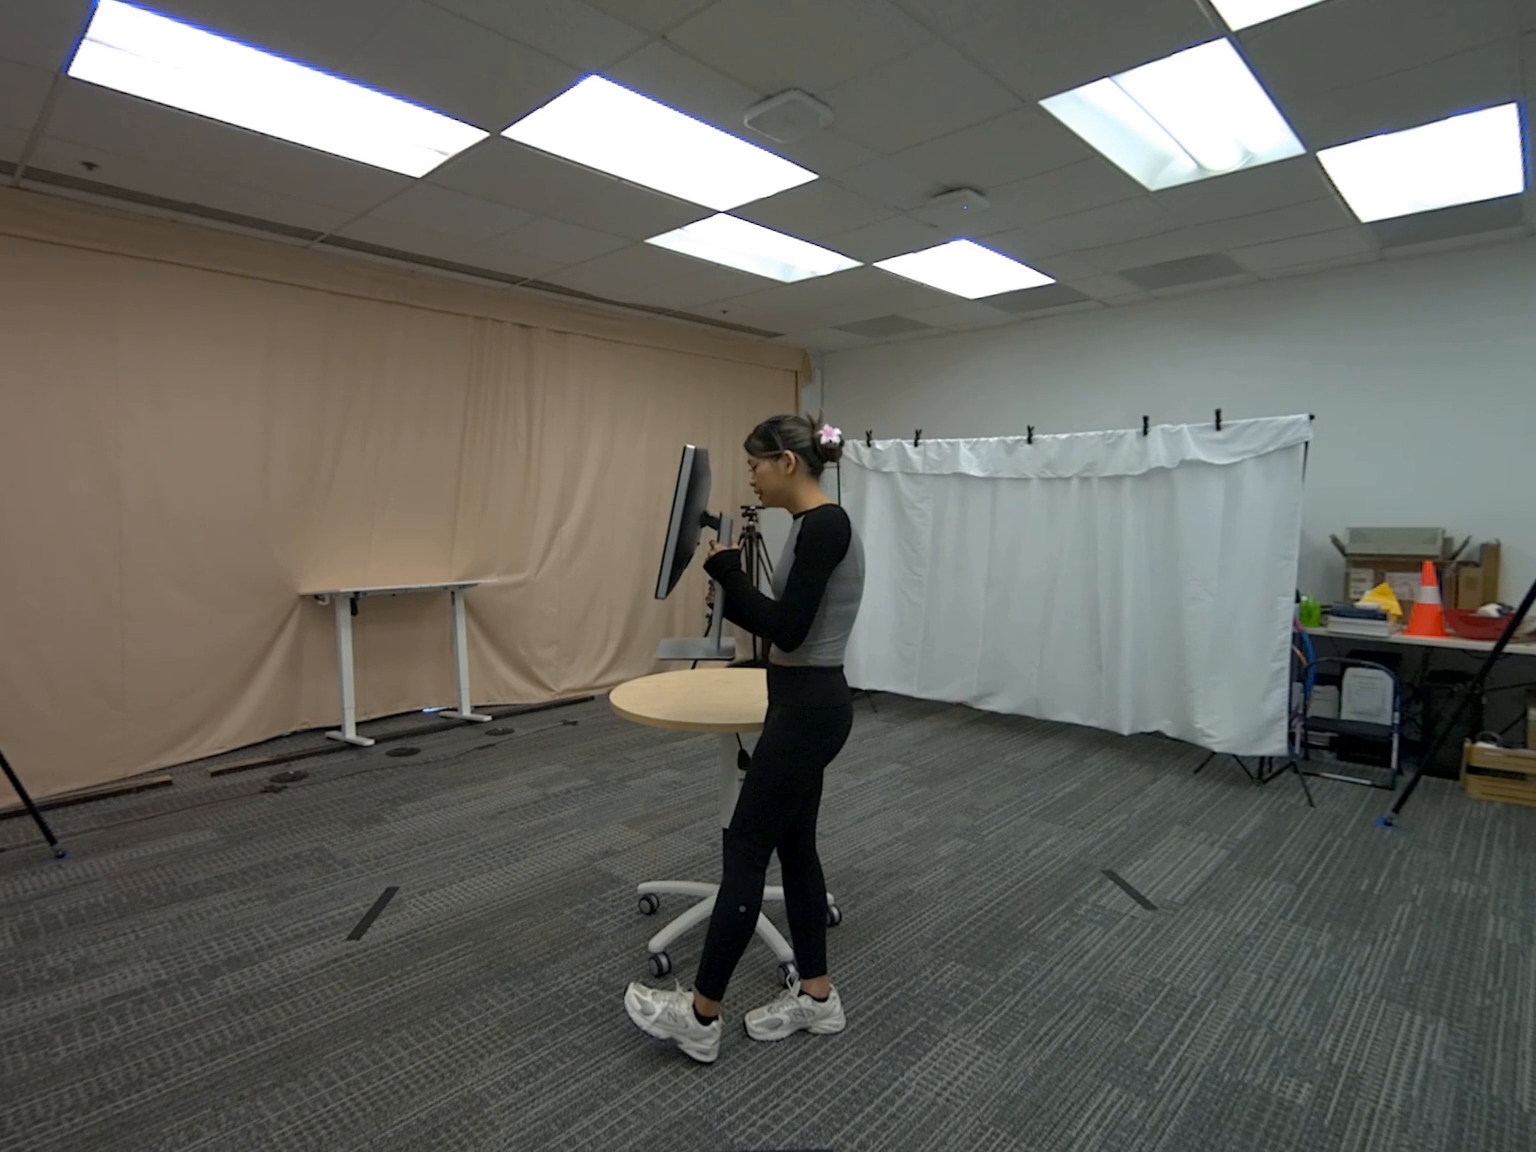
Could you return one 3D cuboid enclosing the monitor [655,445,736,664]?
[{"bbox_3d":[-0.182,-0.063,2.206,0.187,0.520,0.542,0,7,-3],"label":"monitor"}]
